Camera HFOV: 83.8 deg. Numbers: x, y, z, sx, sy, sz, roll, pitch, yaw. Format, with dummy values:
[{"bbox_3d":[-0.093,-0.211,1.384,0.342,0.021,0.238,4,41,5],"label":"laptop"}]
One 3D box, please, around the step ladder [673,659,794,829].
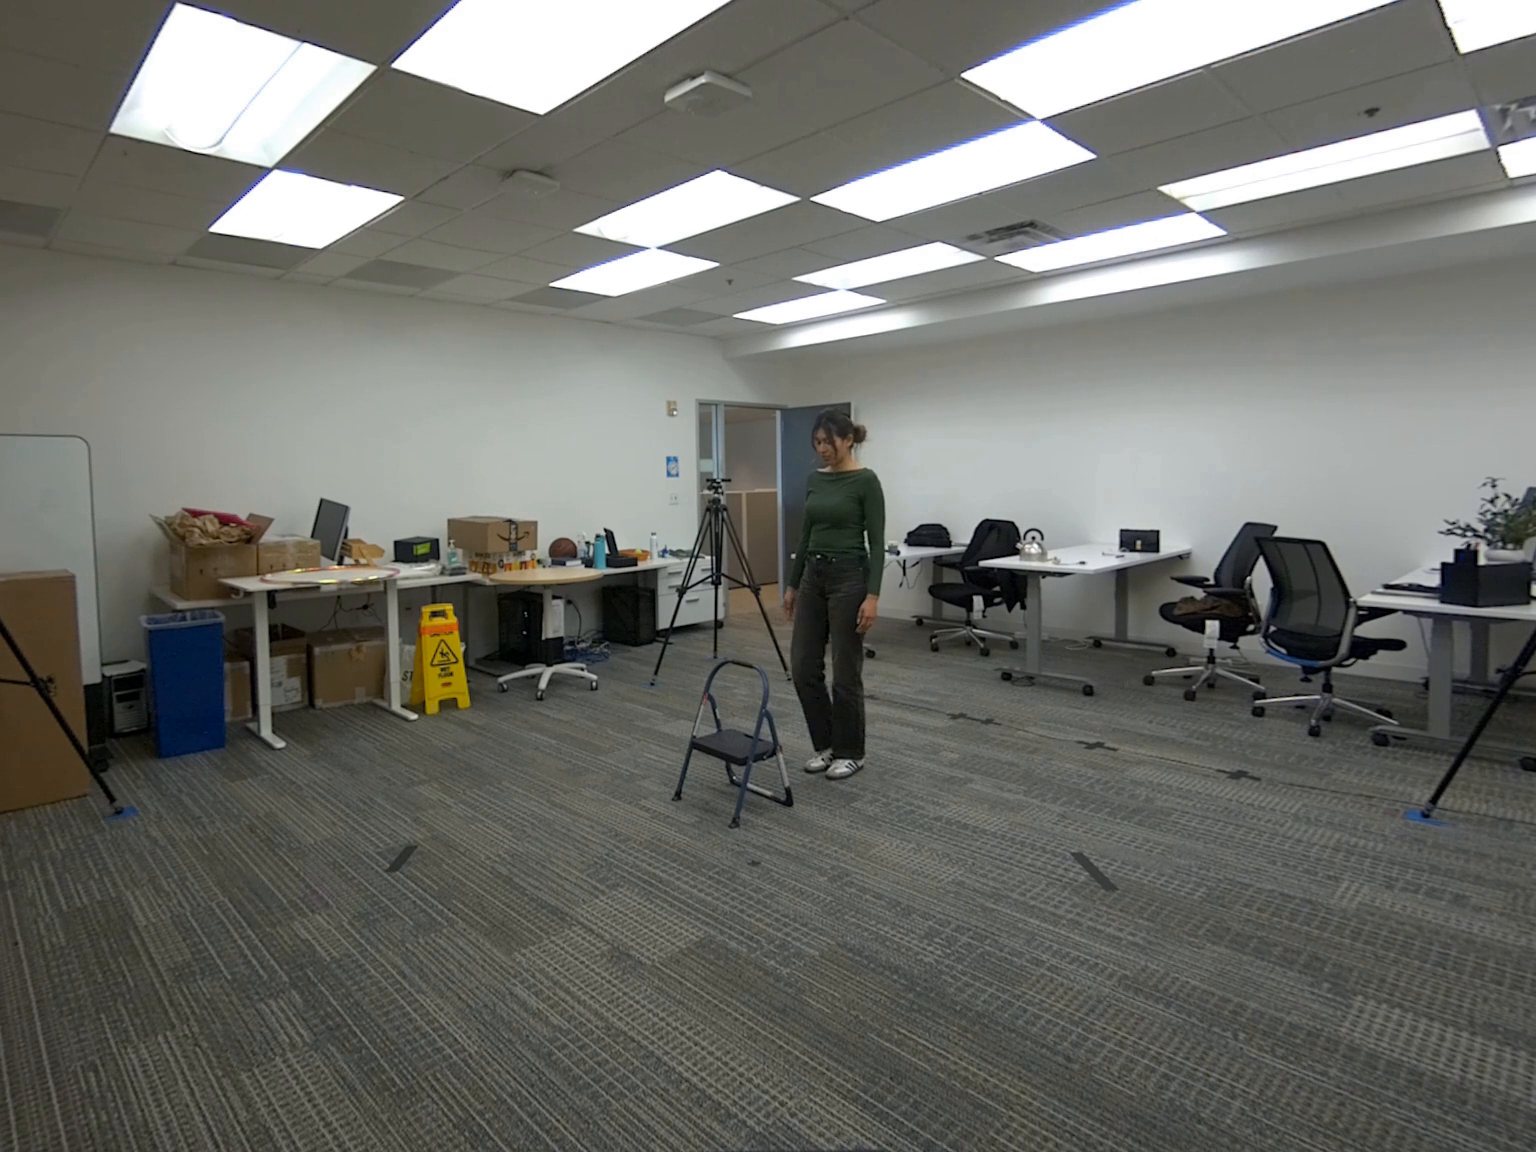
[{"bbox_3d":[-0.154,0.678,3.672,0.340,0.604,0.444,-3,5,-41],"label":"step ladder"}]
